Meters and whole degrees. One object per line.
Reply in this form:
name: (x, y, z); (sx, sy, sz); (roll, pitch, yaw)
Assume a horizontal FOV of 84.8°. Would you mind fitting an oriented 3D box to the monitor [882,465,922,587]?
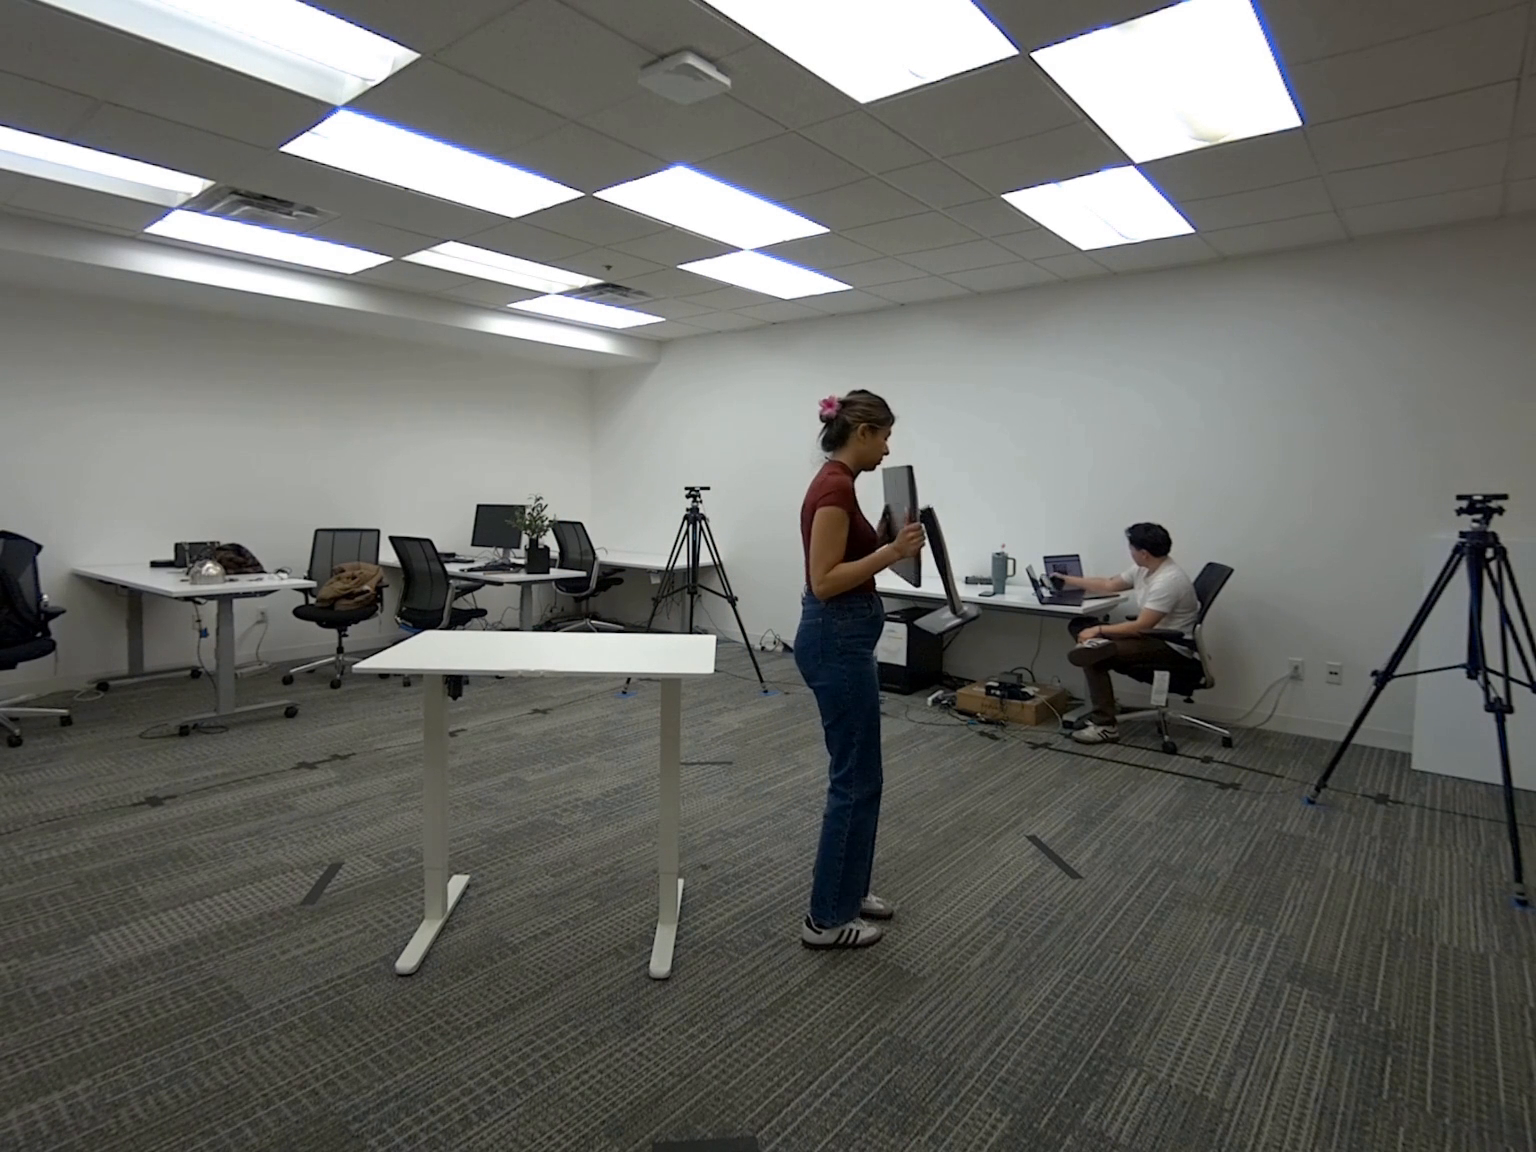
monitor: (0.467, -0.092, 2.683); (0.187, 0.521, 0.541); (-20, 4, 0)
